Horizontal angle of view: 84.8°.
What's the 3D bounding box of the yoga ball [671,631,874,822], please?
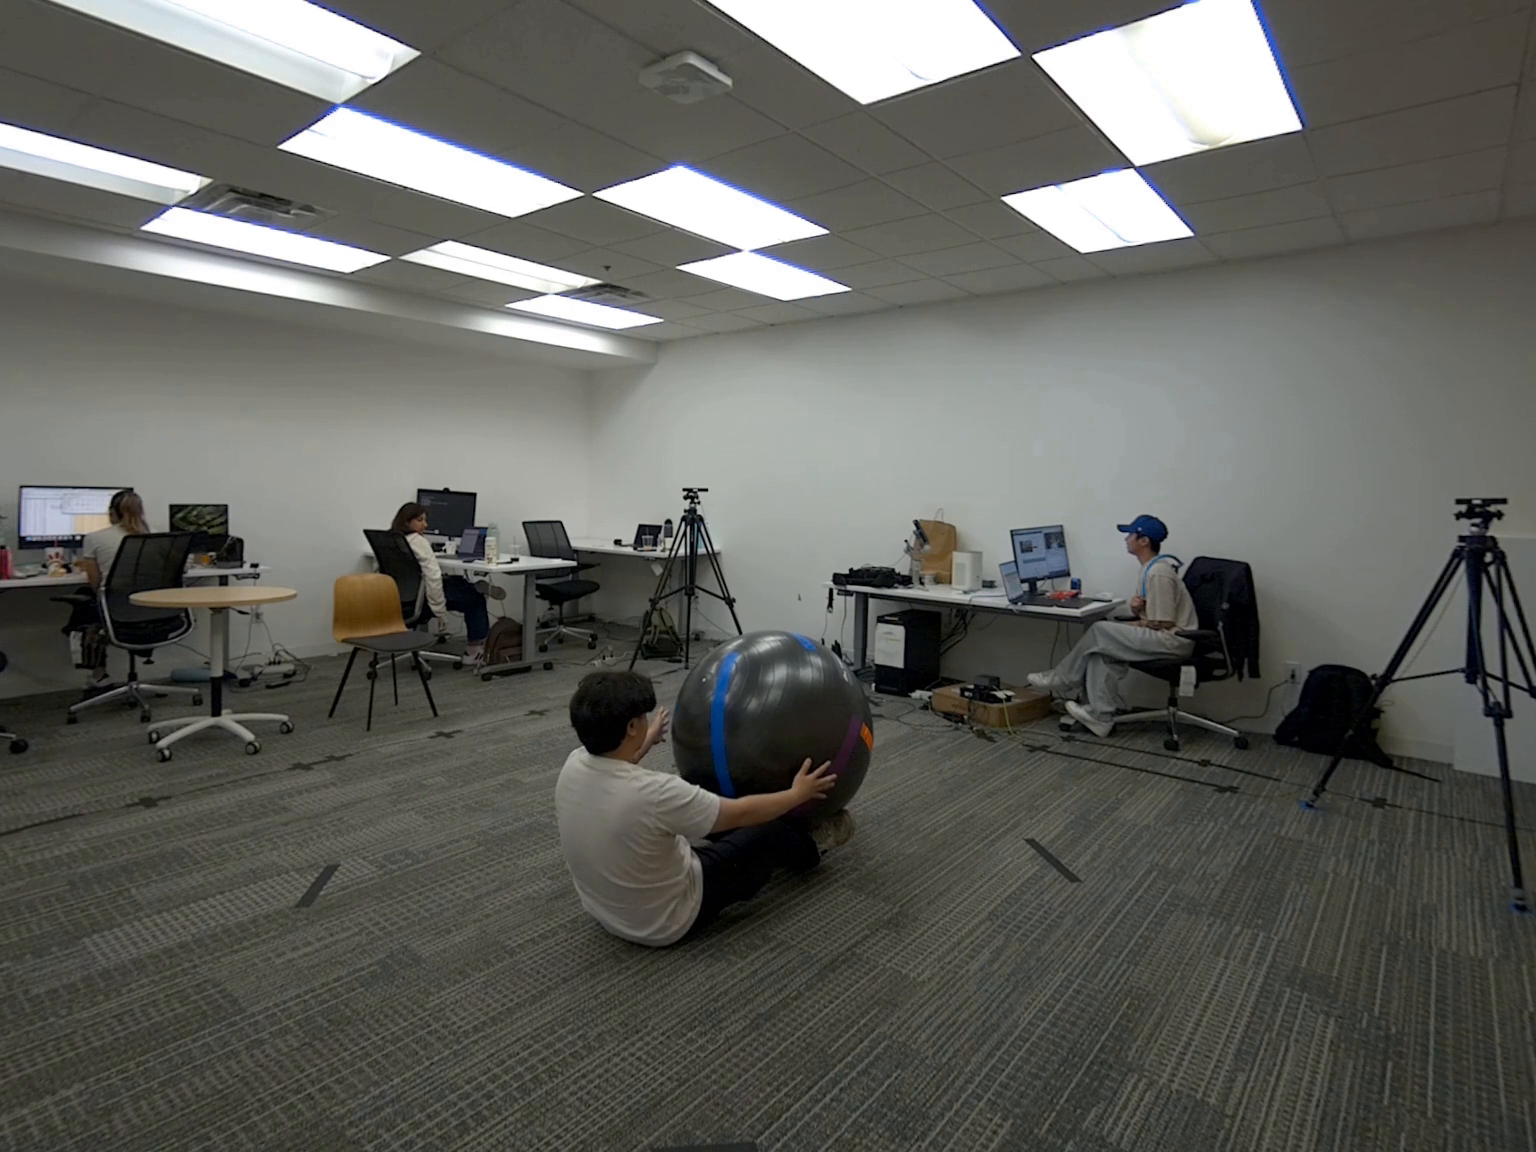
[{"bbox_3d":[0.007,0.586,3.215,0.757,0.755,0.762,1,4,-2],"label":"yoga ball"}]
